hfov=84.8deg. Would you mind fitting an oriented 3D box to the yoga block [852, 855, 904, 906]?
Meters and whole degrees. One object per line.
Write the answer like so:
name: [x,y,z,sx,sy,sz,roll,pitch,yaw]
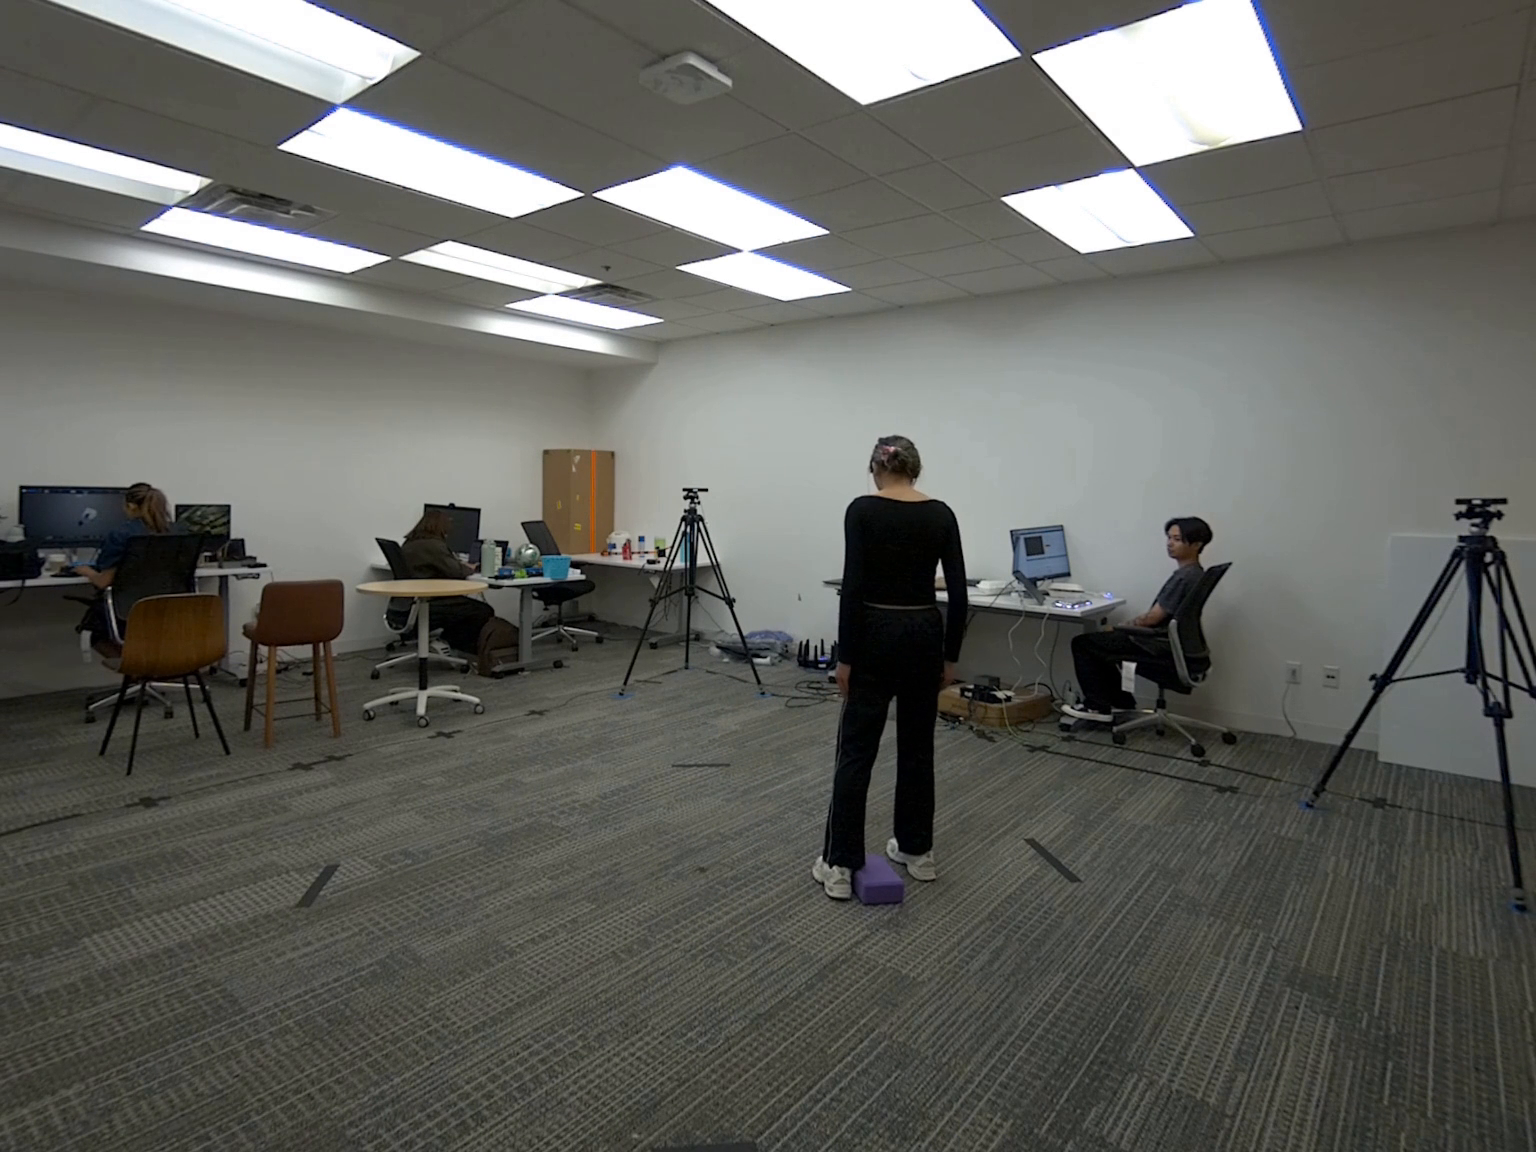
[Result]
yoga block: [0.362,1.058,2.978,0.147,0.076,0.233,0,6,-11]
